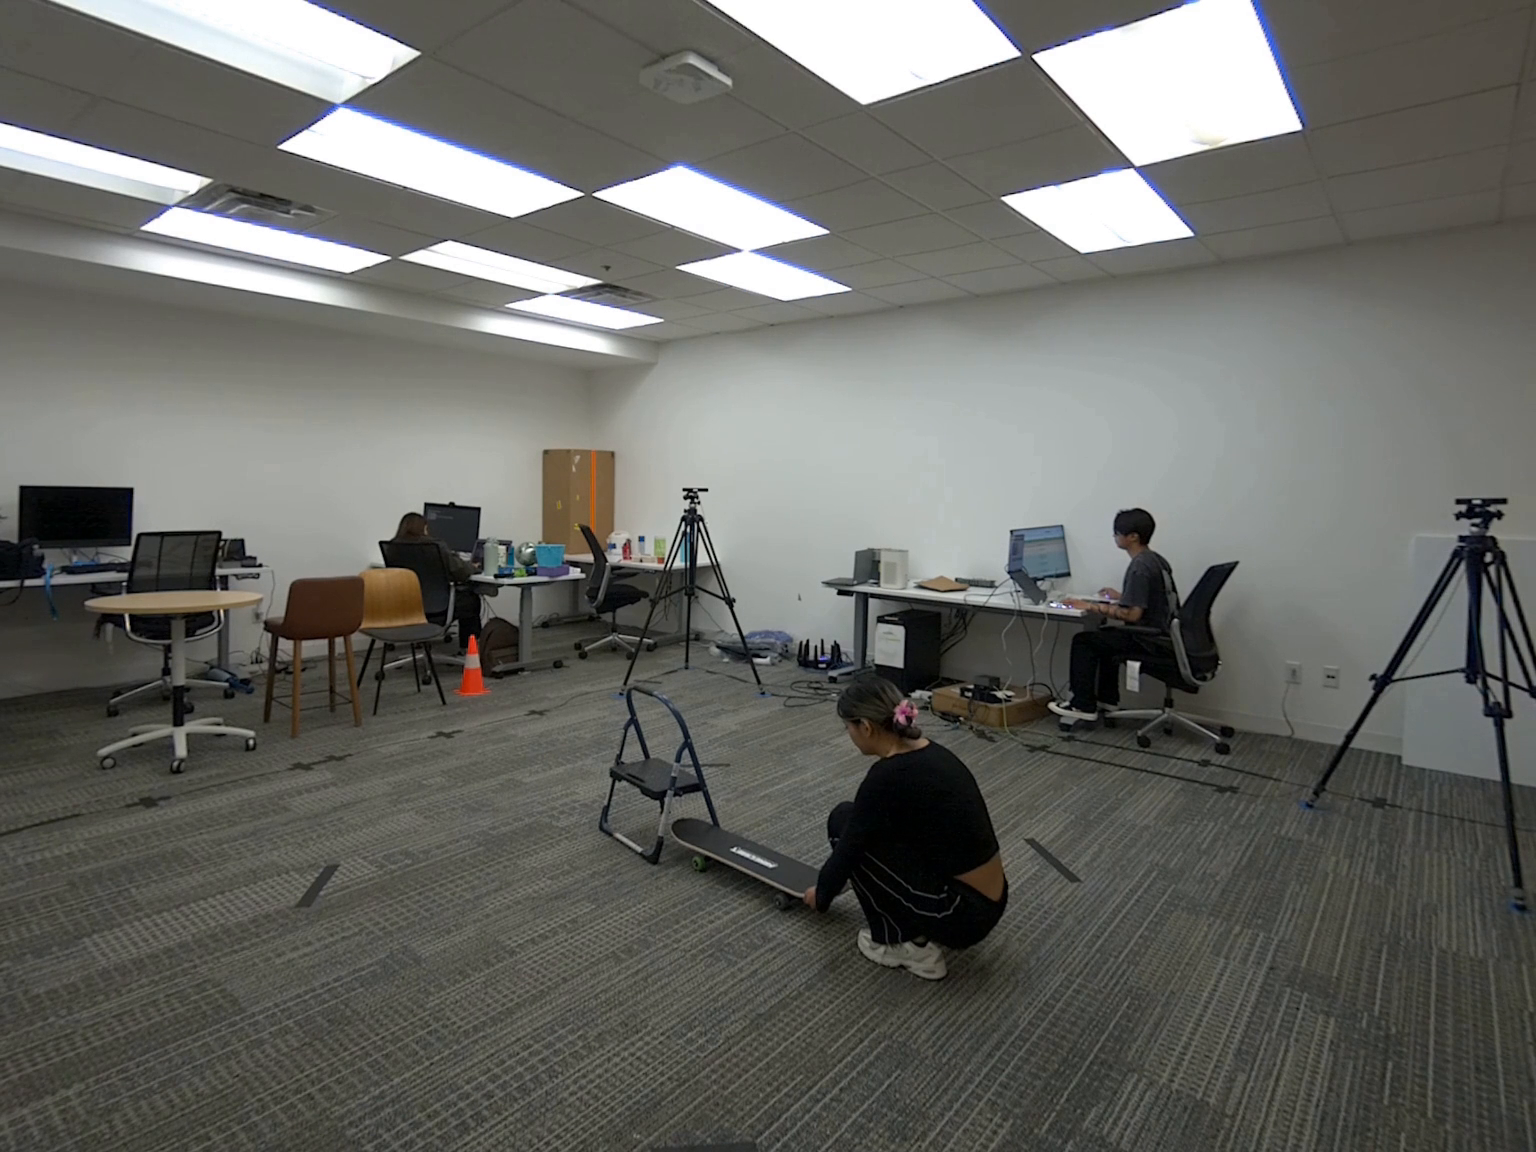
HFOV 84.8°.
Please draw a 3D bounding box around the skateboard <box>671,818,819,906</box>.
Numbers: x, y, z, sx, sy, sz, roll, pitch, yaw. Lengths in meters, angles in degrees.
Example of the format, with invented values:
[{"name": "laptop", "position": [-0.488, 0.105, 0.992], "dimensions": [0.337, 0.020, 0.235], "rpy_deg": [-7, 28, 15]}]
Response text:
[{"name": "skateboard", "position": [-0.064, 1.021, 3.014], "dimensions": [0.813, 0.110, 0.188], "rpy_deg": [7, 8, 43]}]
